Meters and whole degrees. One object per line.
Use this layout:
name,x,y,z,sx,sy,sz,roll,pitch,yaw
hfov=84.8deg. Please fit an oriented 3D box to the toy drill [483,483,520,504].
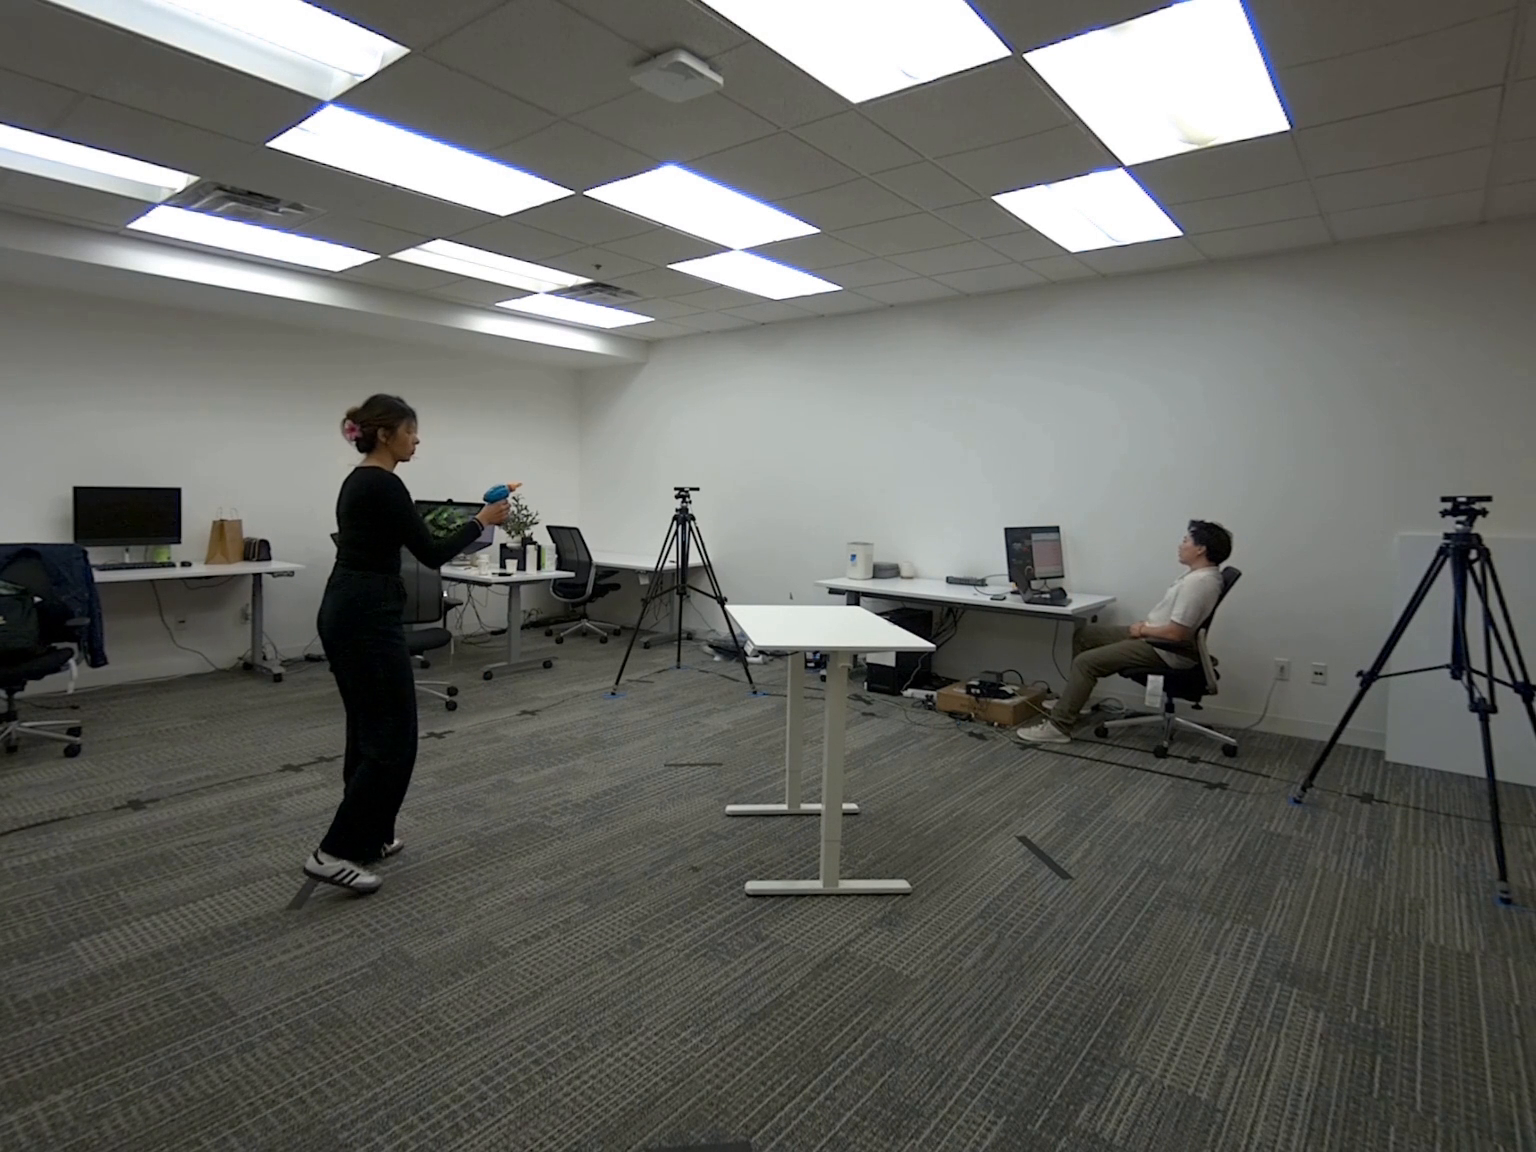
toy drill,-1.053,-0.309,3.255,0.168,0.061,0.147,-34,-1,-31
